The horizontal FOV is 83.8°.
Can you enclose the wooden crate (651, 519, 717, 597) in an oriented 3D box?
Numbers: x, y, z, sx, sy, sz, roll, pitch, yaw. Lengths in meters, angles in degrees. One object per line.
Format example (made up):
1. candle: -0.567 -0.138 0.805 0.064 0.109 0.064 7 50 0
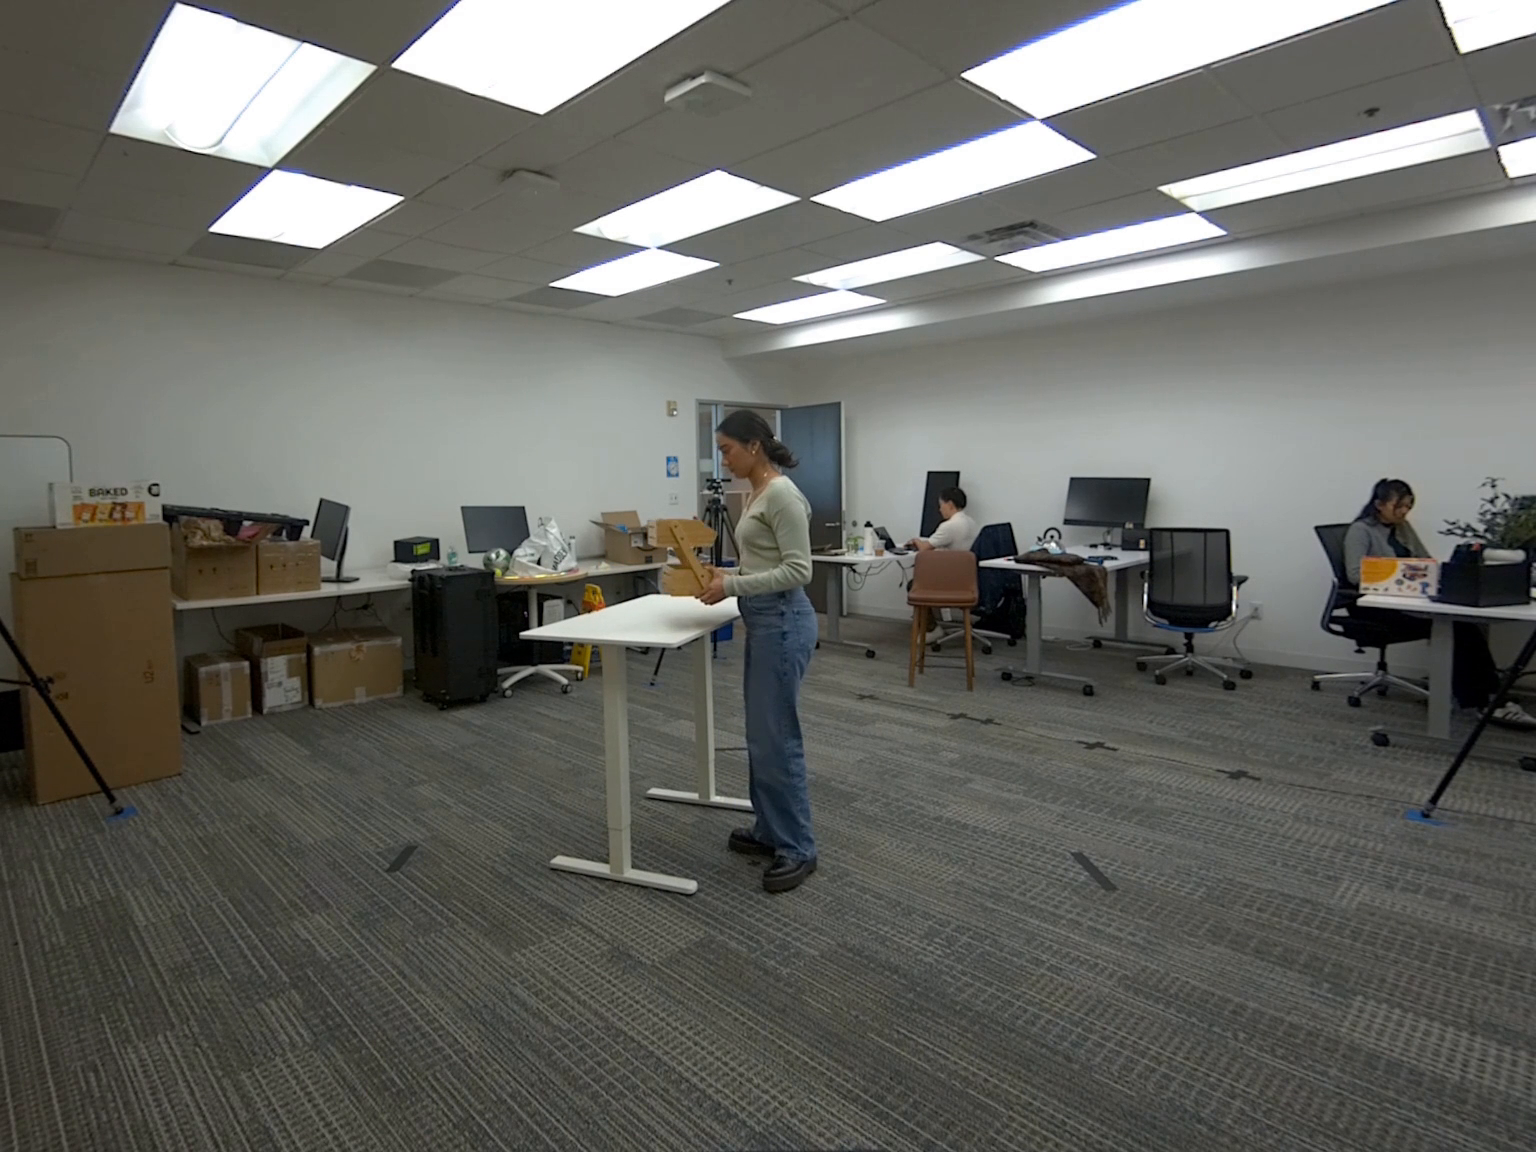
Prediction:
1. wooden crate: -0.259 -0.078 3.050 0.298 0.273 0.329 -2 3 -13
